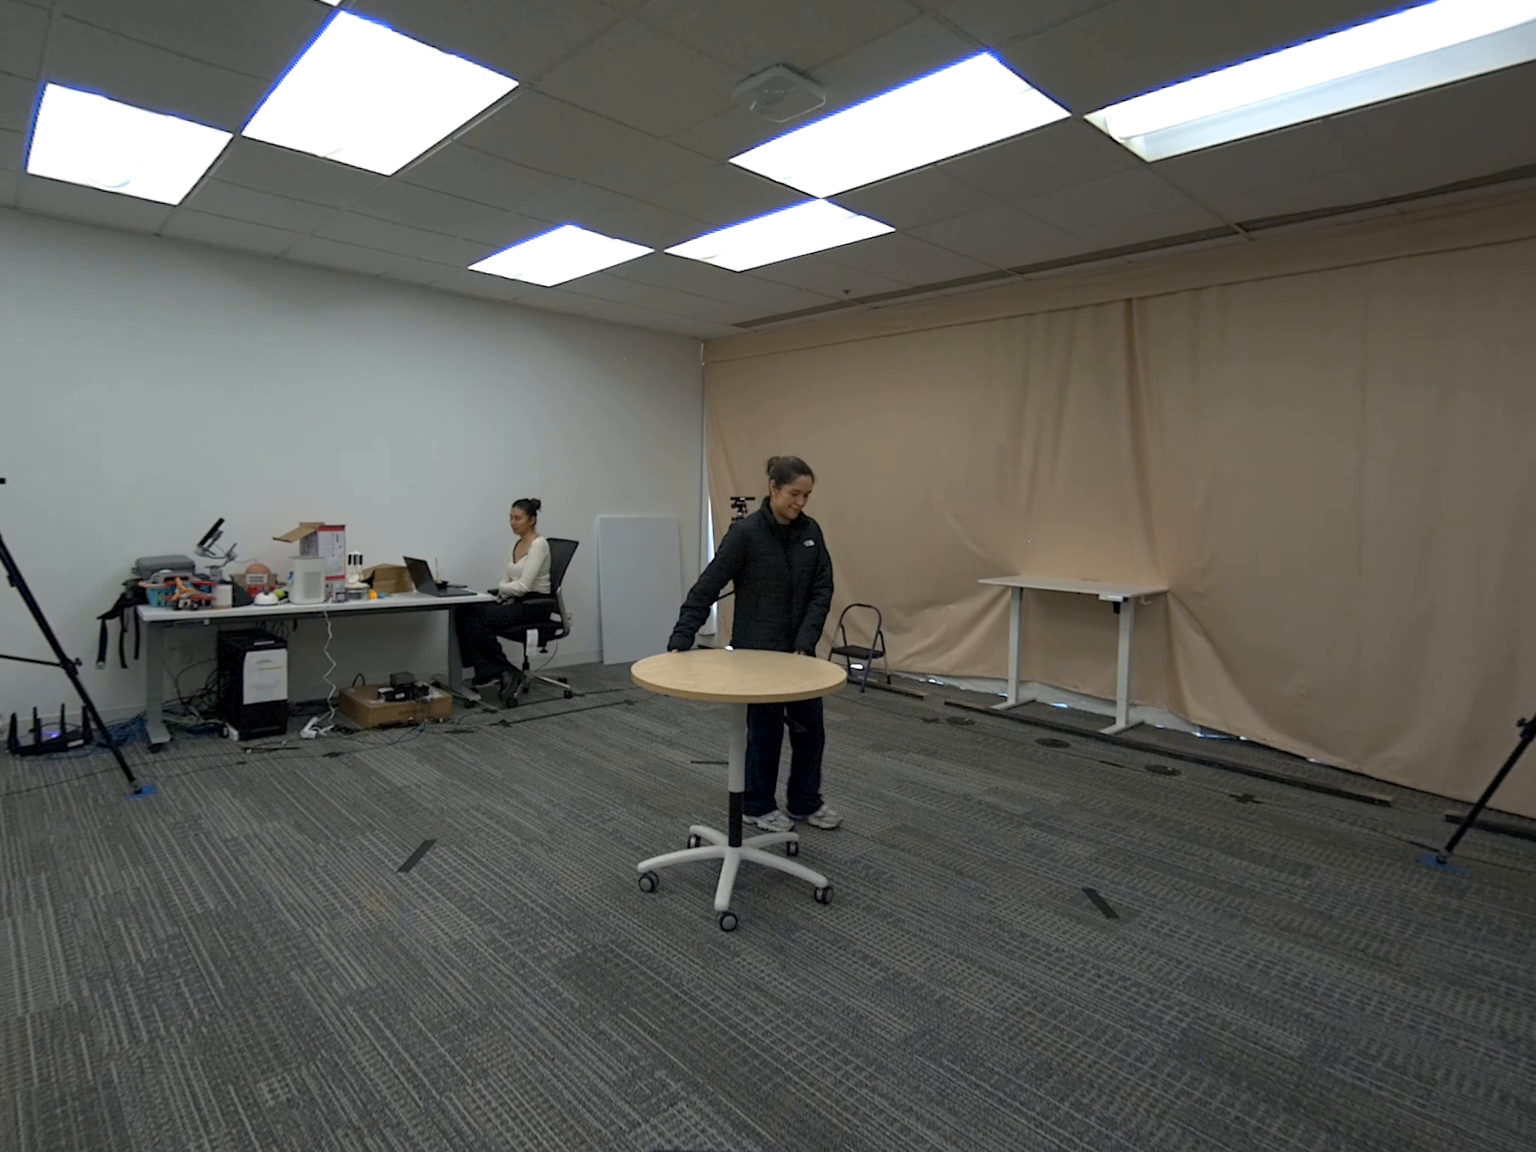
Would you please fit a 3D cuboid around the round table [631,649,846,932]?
[{"bbox_3d":[-0.121,0.725,2.996,0.784,0.784,0.788,1,4,-1],"label":"round table"}]
